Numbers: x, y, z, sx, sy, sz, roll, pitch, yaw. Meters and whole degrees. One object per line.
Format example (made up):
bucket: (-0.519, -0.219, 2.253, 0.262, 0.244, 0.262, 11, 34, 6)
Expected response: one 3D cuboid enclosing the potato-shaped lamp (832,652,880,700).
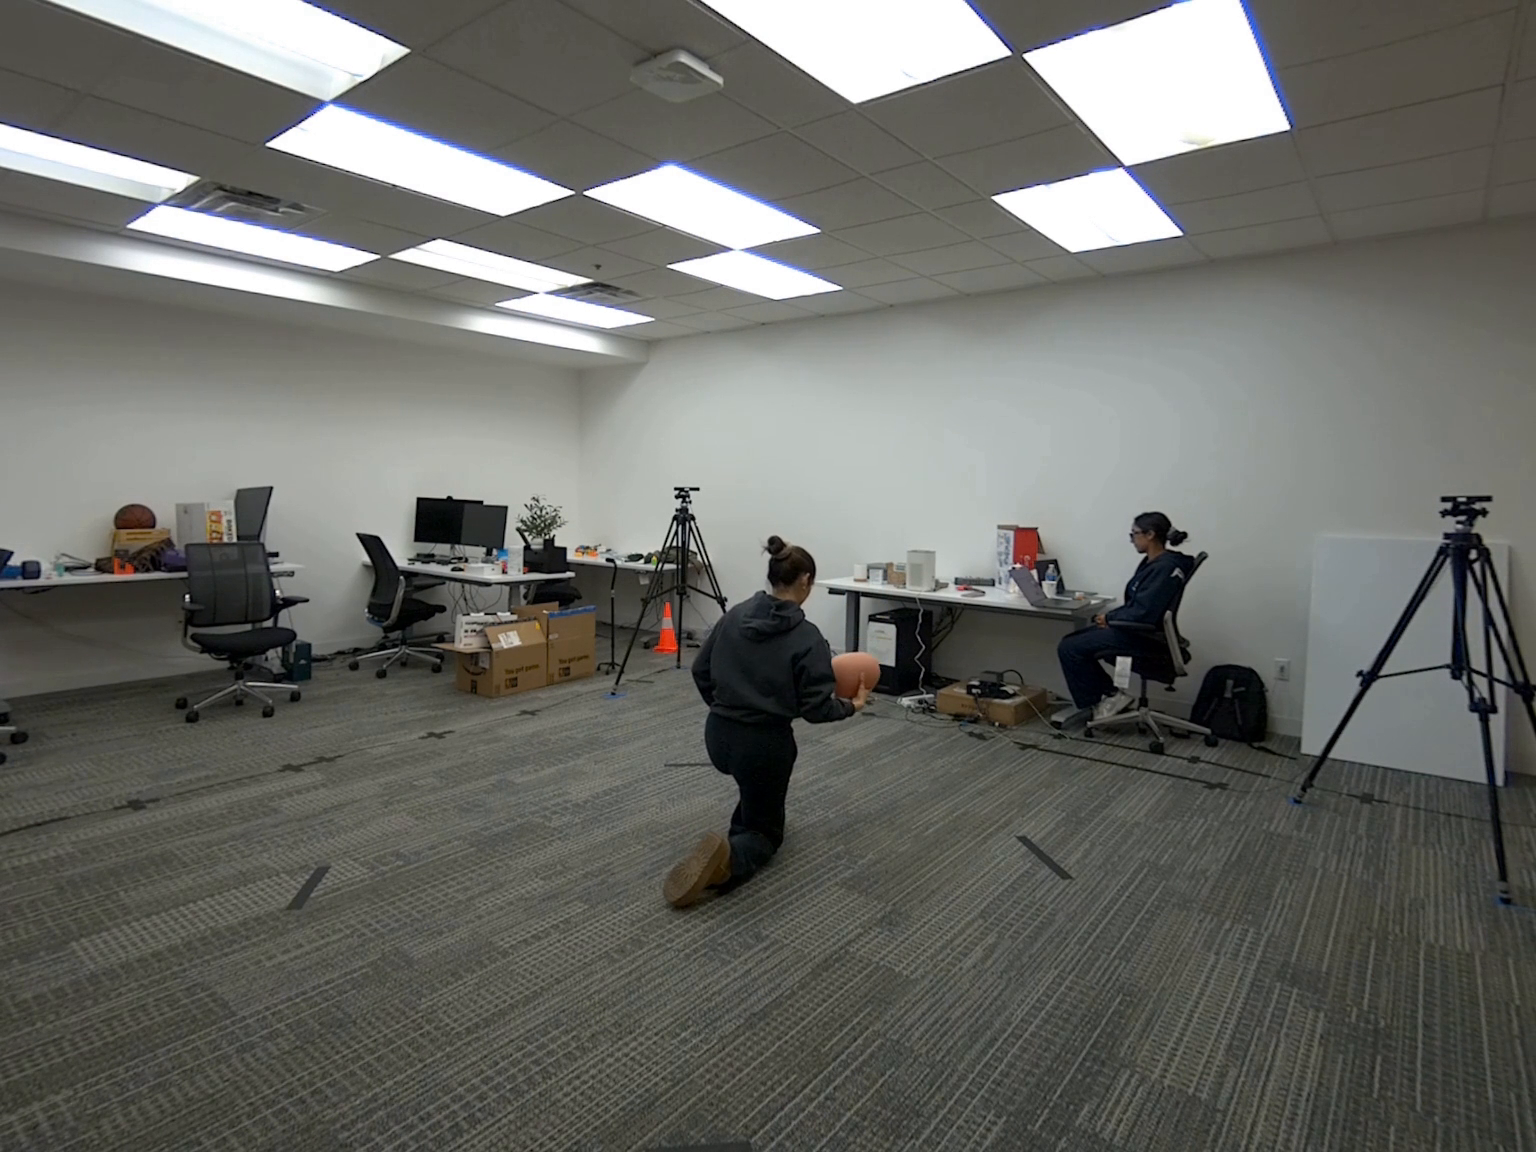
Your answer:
potato-shaped lamp: (0.331, 0.376, 3.315, 0.197, 0.166, 0.171, -11, 43, -8)
